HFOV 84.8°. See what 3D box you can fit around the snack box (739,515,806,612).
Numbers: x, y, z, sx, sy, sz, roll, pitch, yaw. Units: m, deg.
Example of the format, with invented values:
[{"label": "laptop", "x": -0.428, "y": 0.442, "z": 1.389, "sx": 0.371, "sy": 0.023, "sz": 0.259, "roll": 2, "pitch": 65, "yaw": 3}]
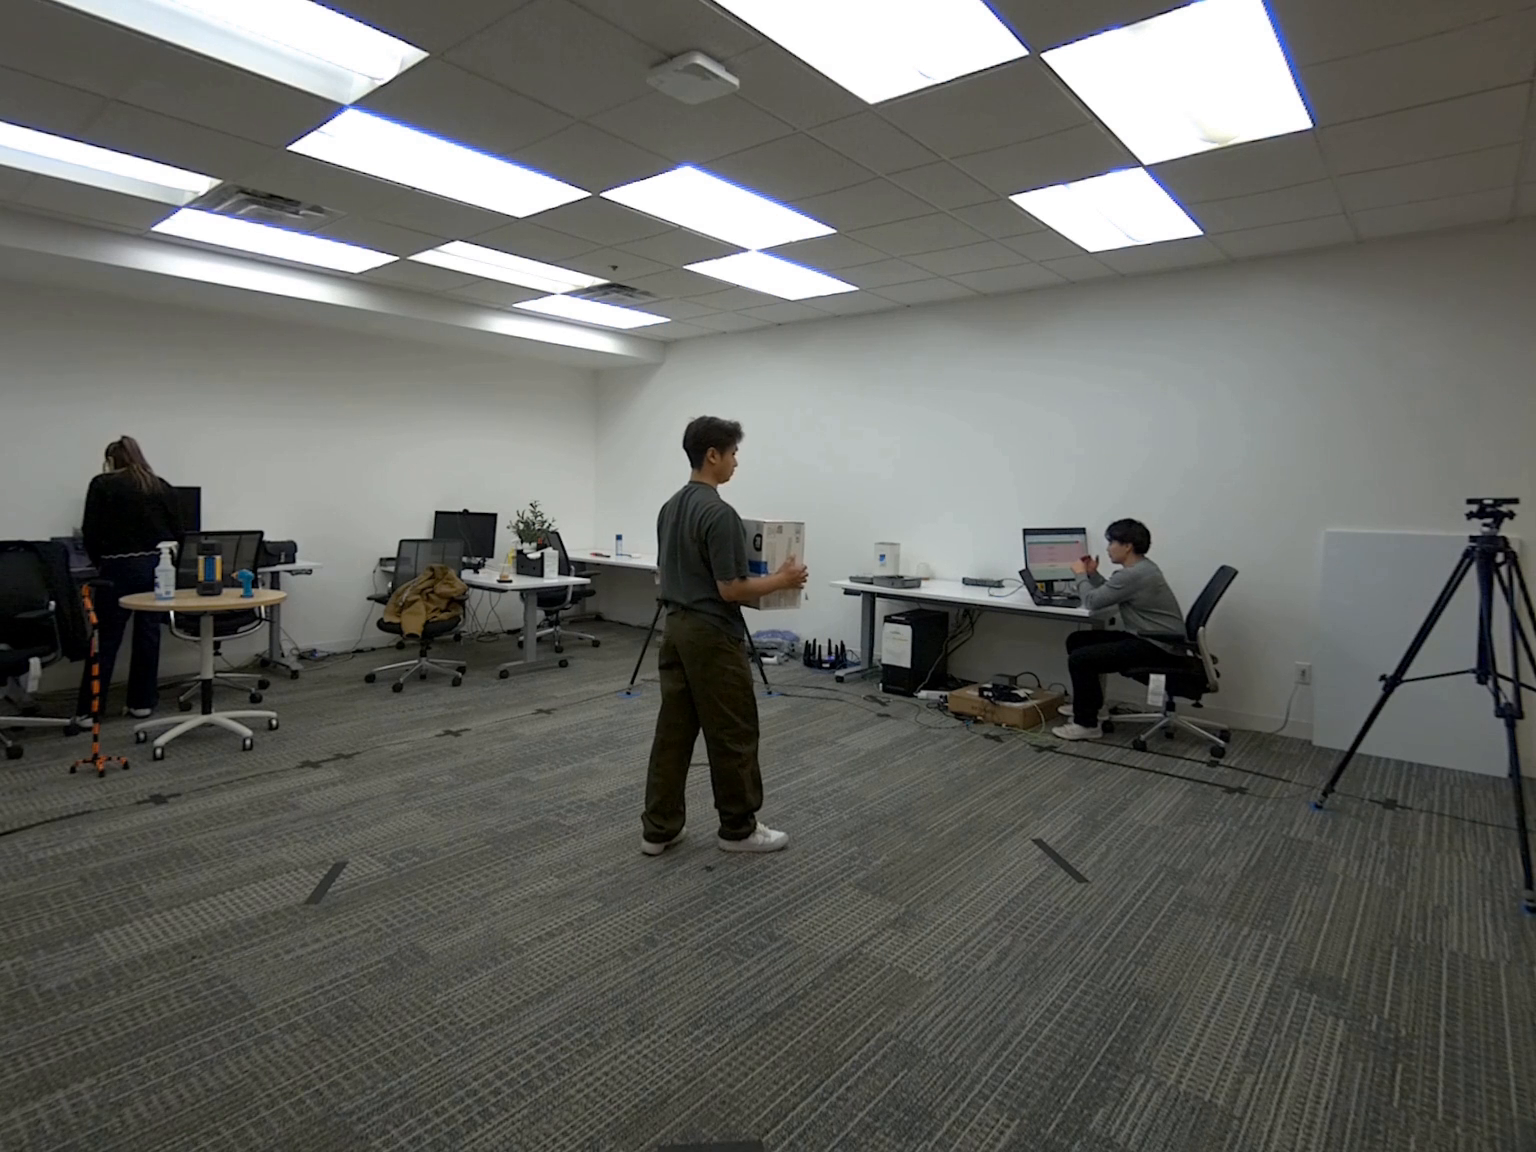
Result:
[{"label": "snack box", "x": -0.069, "y": -0.065, "z": 3.404, "sx": 0.199, "sy": 0.339, "sz": 0.419, "roll": 0, "pitch": 6, "yaw": -36}]
